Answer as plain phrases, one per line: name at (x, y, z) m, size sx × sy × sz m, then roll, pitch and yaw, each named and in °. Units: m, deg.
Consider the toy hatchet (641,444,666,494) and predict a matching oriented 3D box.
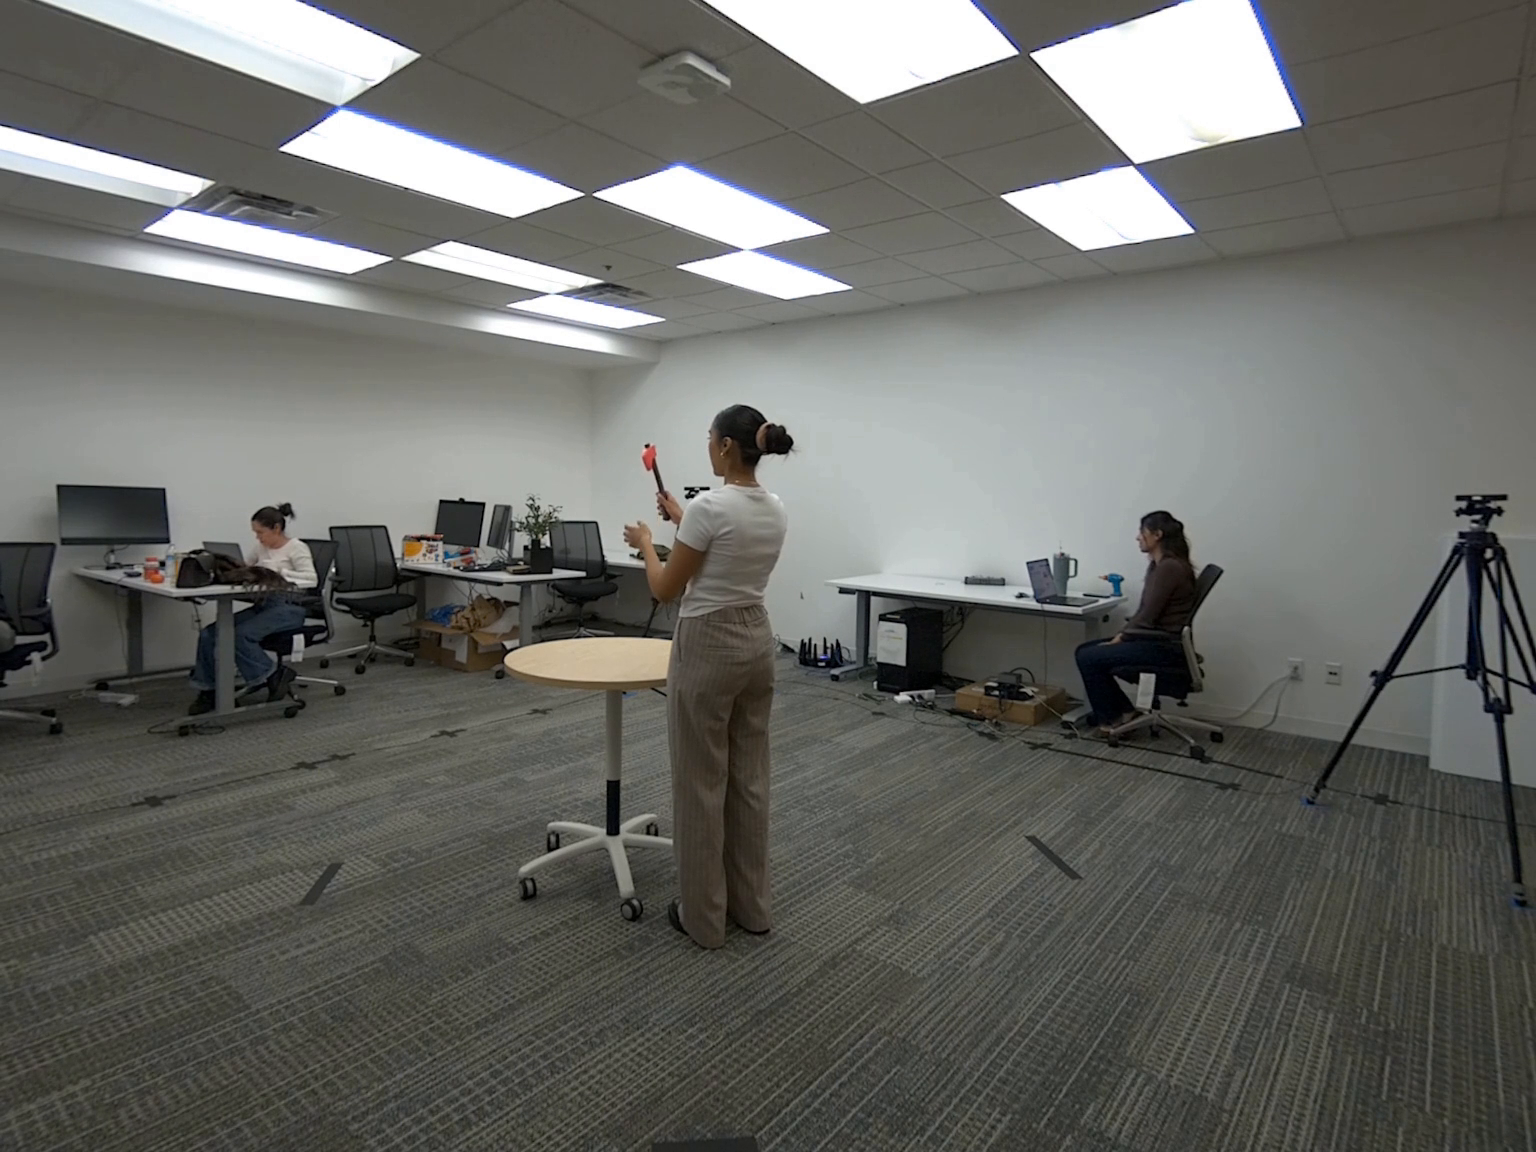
toy hatchet at (-0.392, -0.322, 2.887) m, size 0.030 × 0.270 × 0.130 m, roll -13°, pitch 1°, yaw 11°
